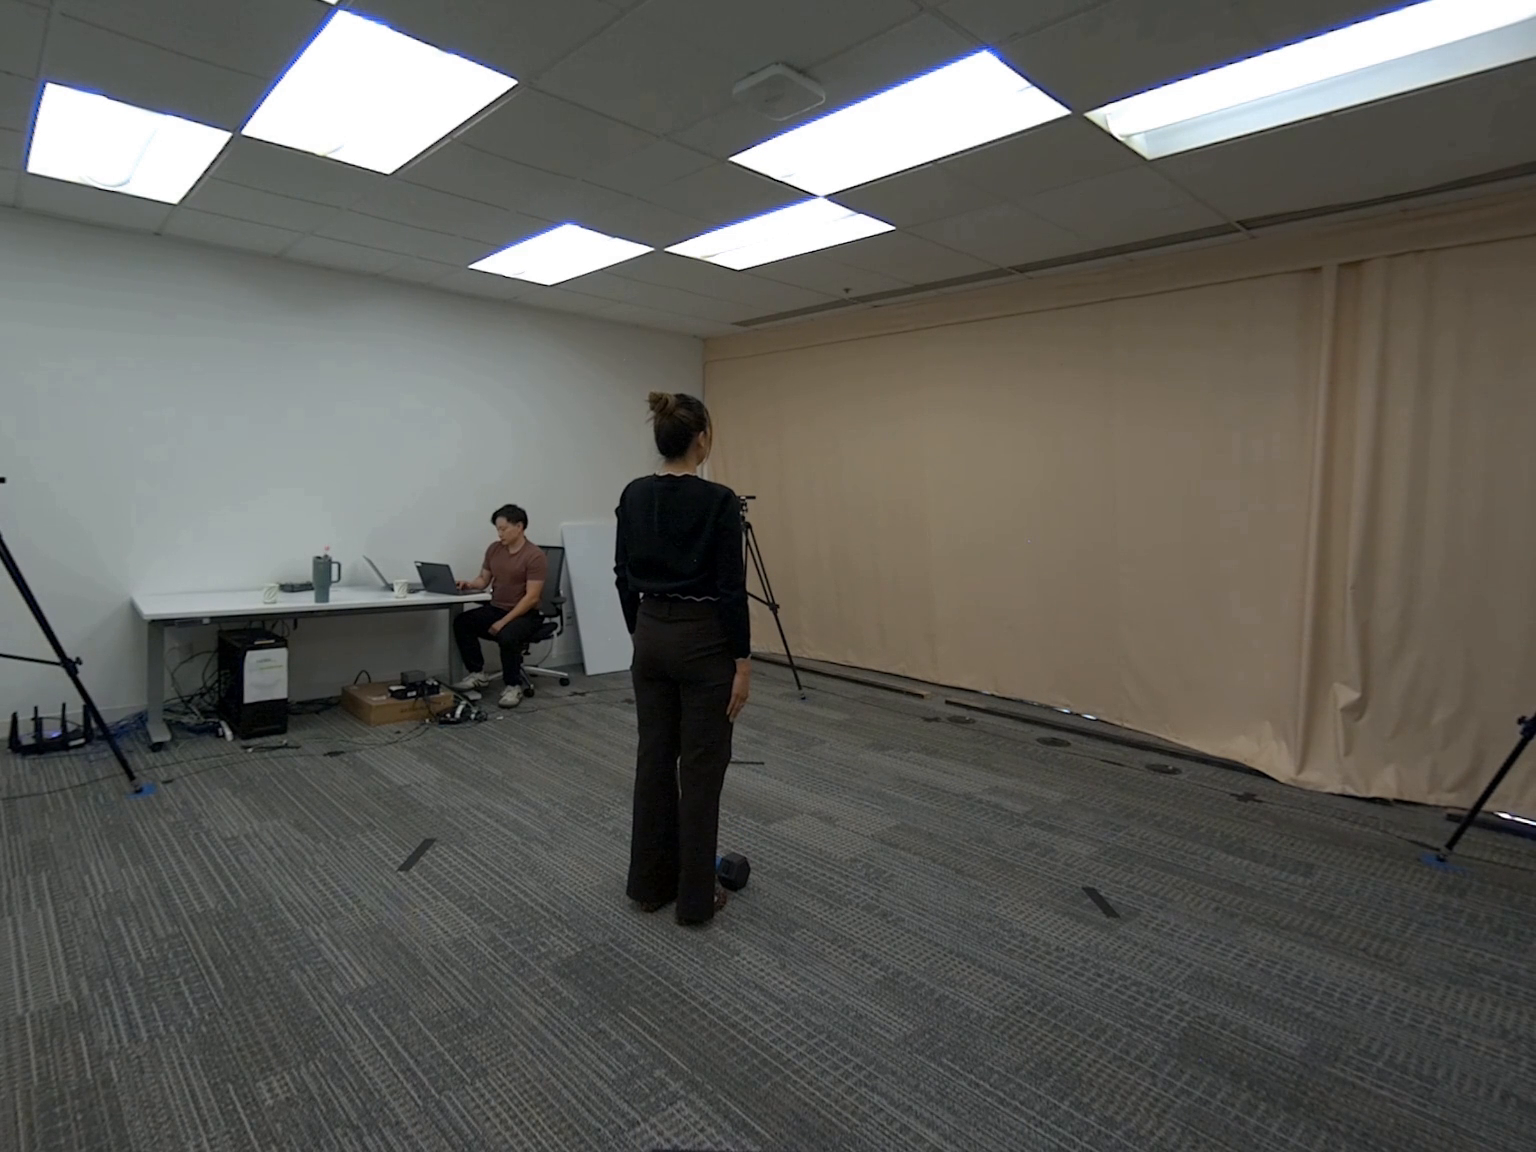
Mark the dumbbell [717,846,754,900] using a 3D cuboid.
[{"bbox_3d":[-0.213,1.055,3.070,0.301,0.108,0.120,5,4,36],"label":"dumbbell"}]
